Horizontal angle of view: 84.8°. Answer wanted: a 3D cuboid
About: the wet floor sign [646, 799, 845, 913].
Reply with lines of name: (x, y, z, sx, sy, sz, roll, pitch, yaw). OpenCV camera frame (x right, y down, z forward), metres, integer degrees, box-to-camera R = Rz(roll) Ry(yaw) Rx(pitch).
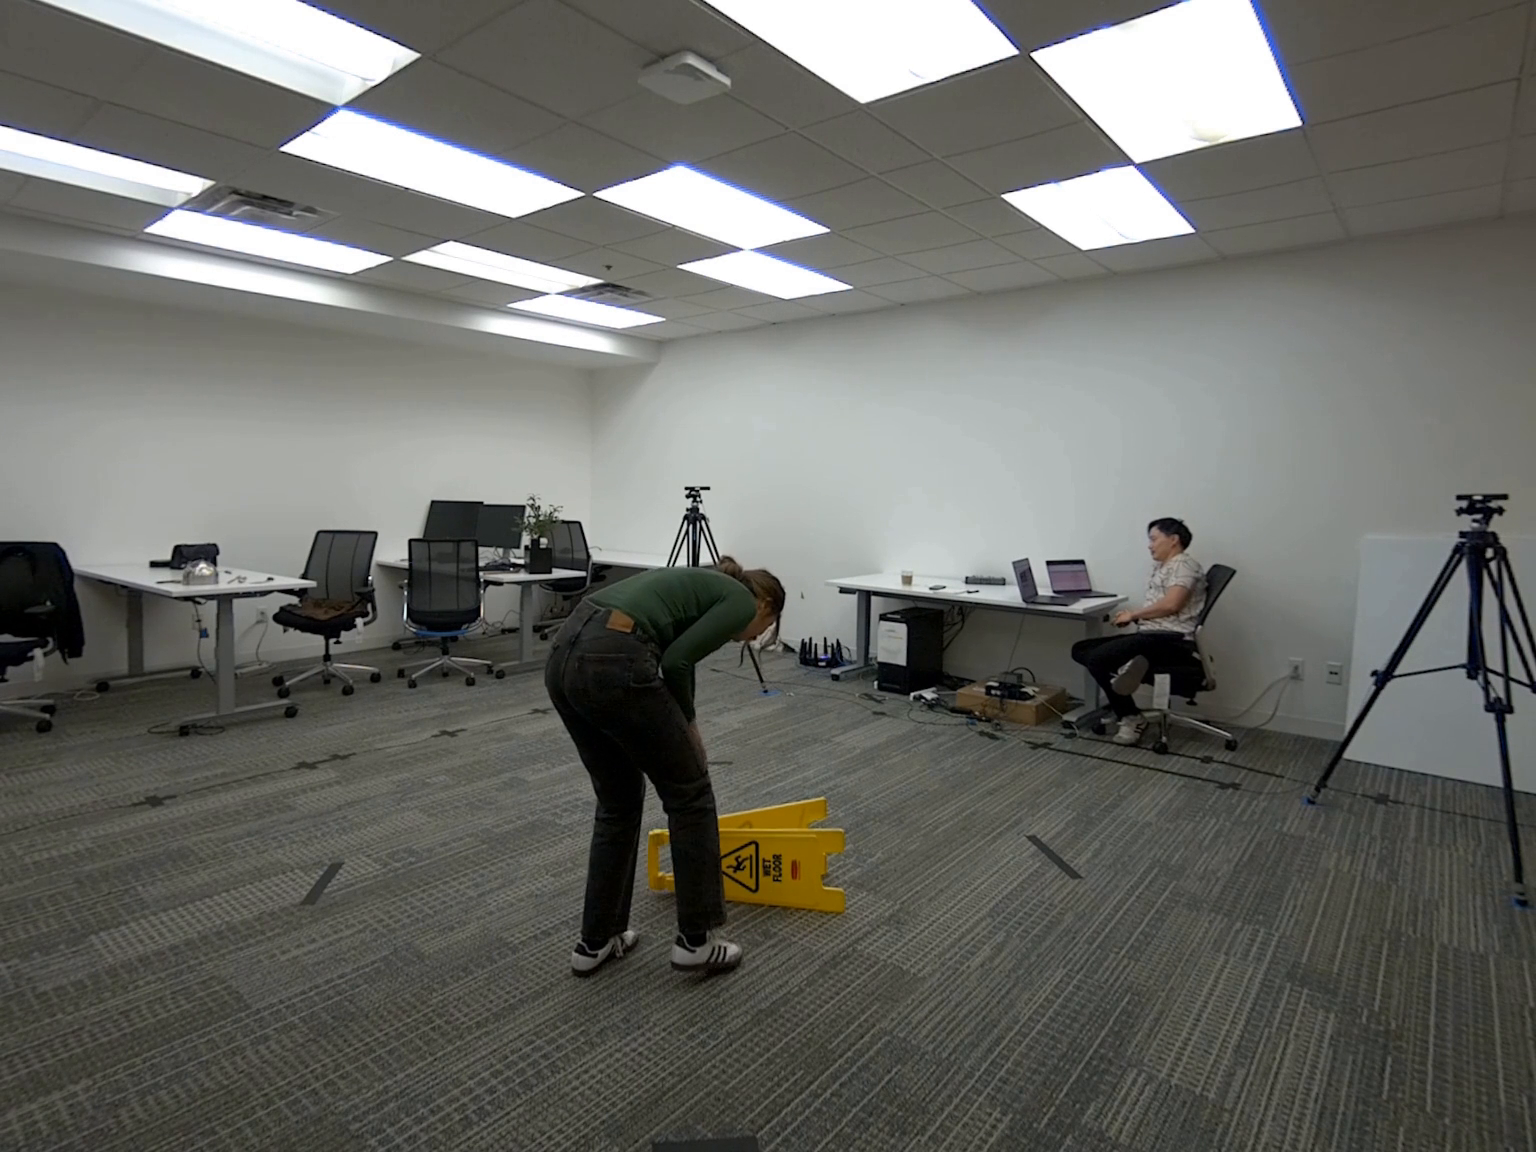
wet floor sign: (-0.100, 0.952, 2.911, 0.643, 0.281, 0.292, -2, 4, -5)
